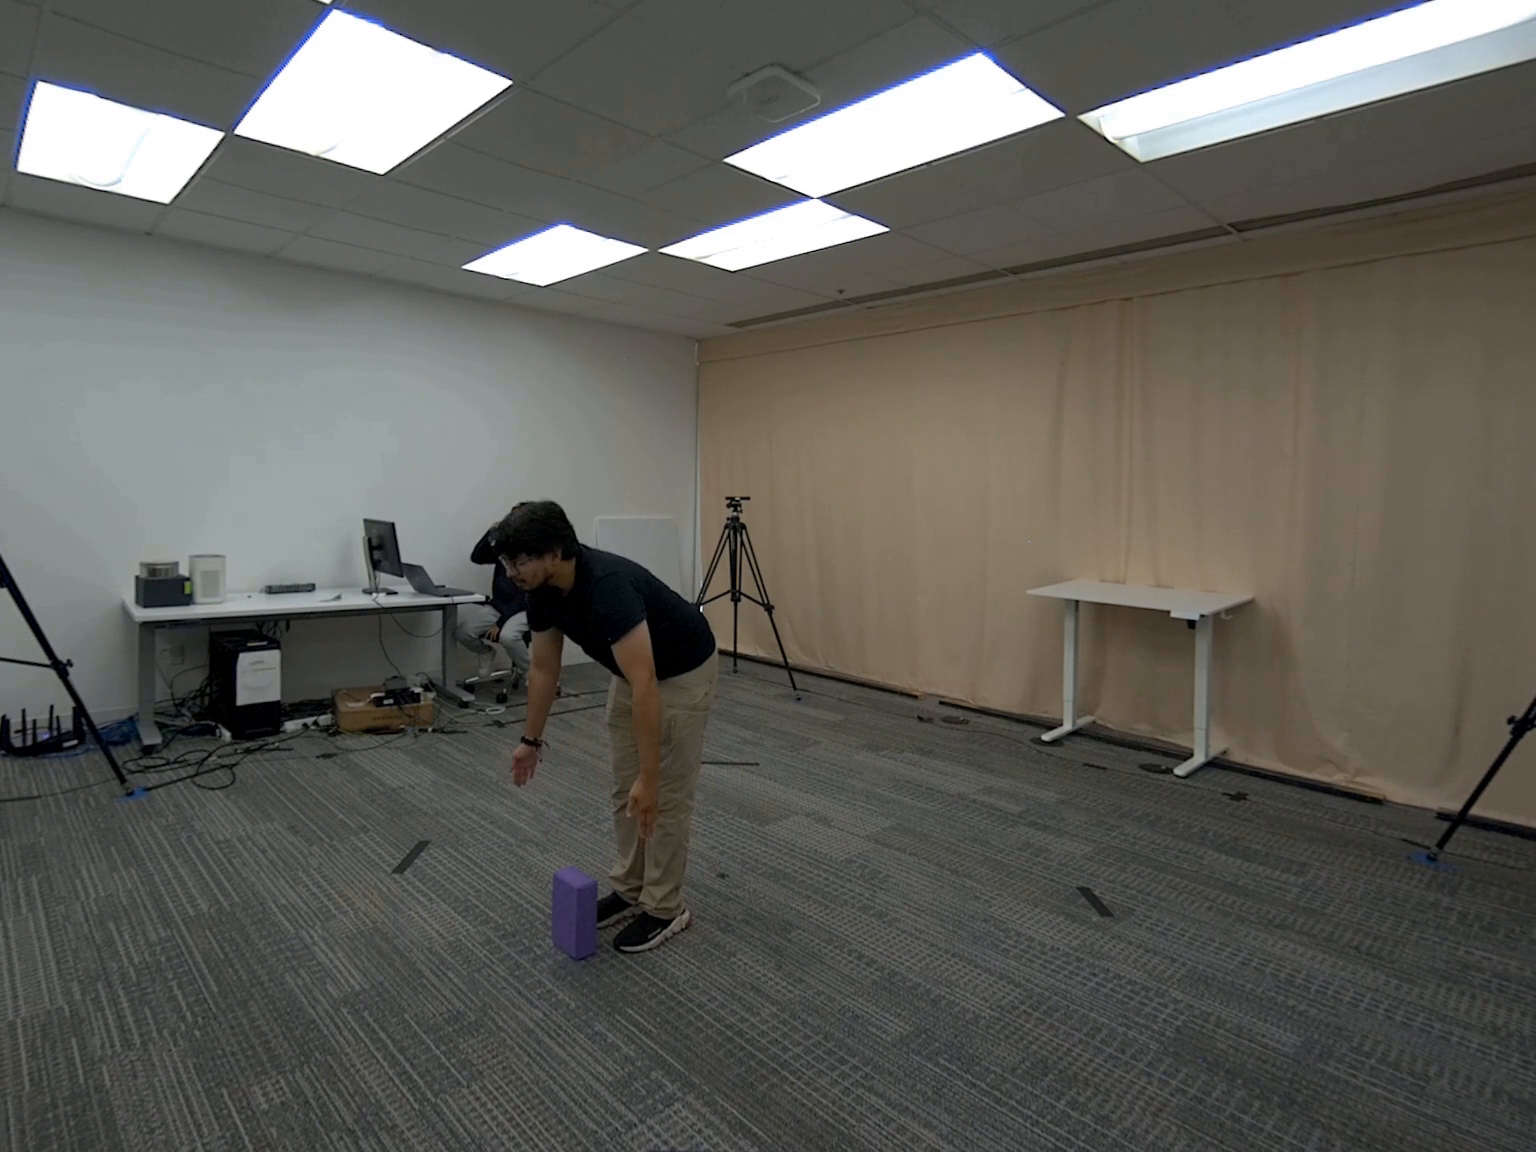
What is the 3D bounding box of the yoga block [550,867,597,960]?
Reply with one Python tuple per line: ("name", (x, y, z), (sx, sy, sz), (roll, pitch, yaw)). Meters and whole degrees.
("yoga block", (-0.598, 1.026, 2.577), (0.075, 0.229, 0.153), (0, 5, -38))
